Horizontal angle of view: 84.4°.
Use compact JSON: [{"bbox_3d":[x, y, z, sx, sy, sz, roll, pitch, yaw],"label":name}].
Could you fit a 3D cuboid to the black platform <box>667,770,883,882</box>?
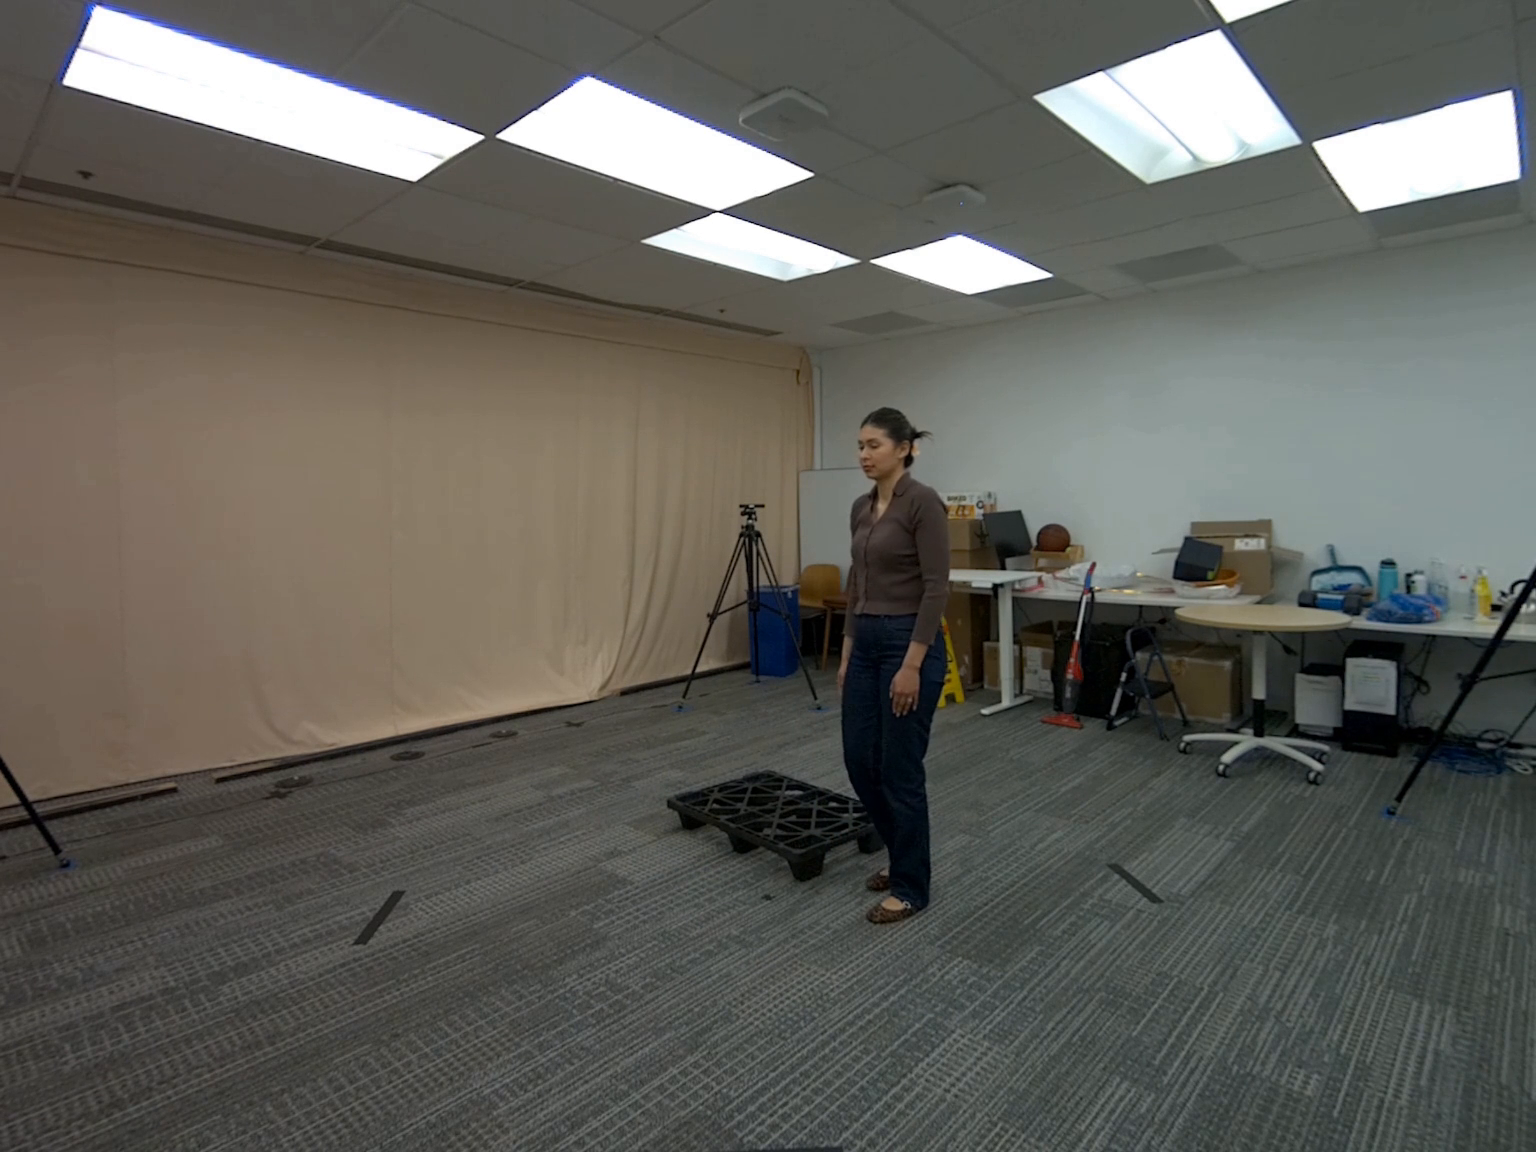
[{"bbox_3d":[0.051,1.027,3.512,0.587,0.143,0.832,-6,6,-41],"label":"black platform"}]
